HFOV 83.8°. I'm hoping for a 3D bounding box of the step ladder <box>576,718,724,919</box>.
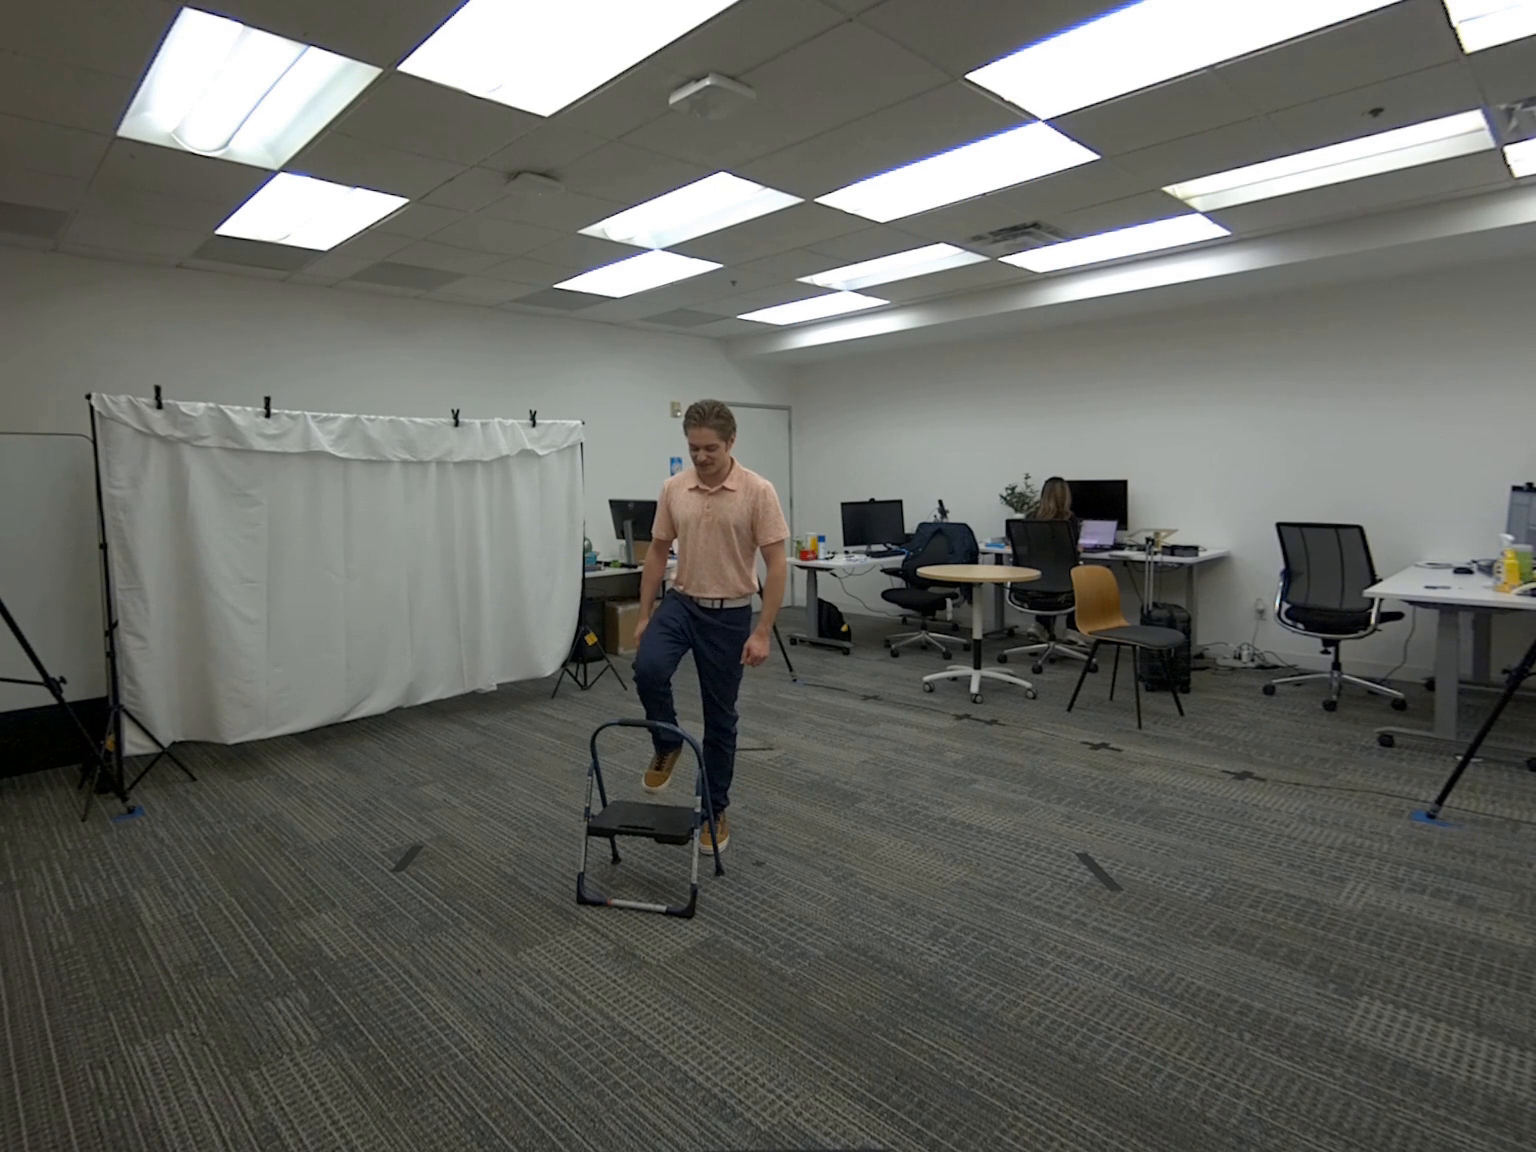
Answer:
[{"bbox_3d":[-0.408,0.773,2.918,0.437,0.603,0.345,0,5,15],"label":"step ladder"}]
